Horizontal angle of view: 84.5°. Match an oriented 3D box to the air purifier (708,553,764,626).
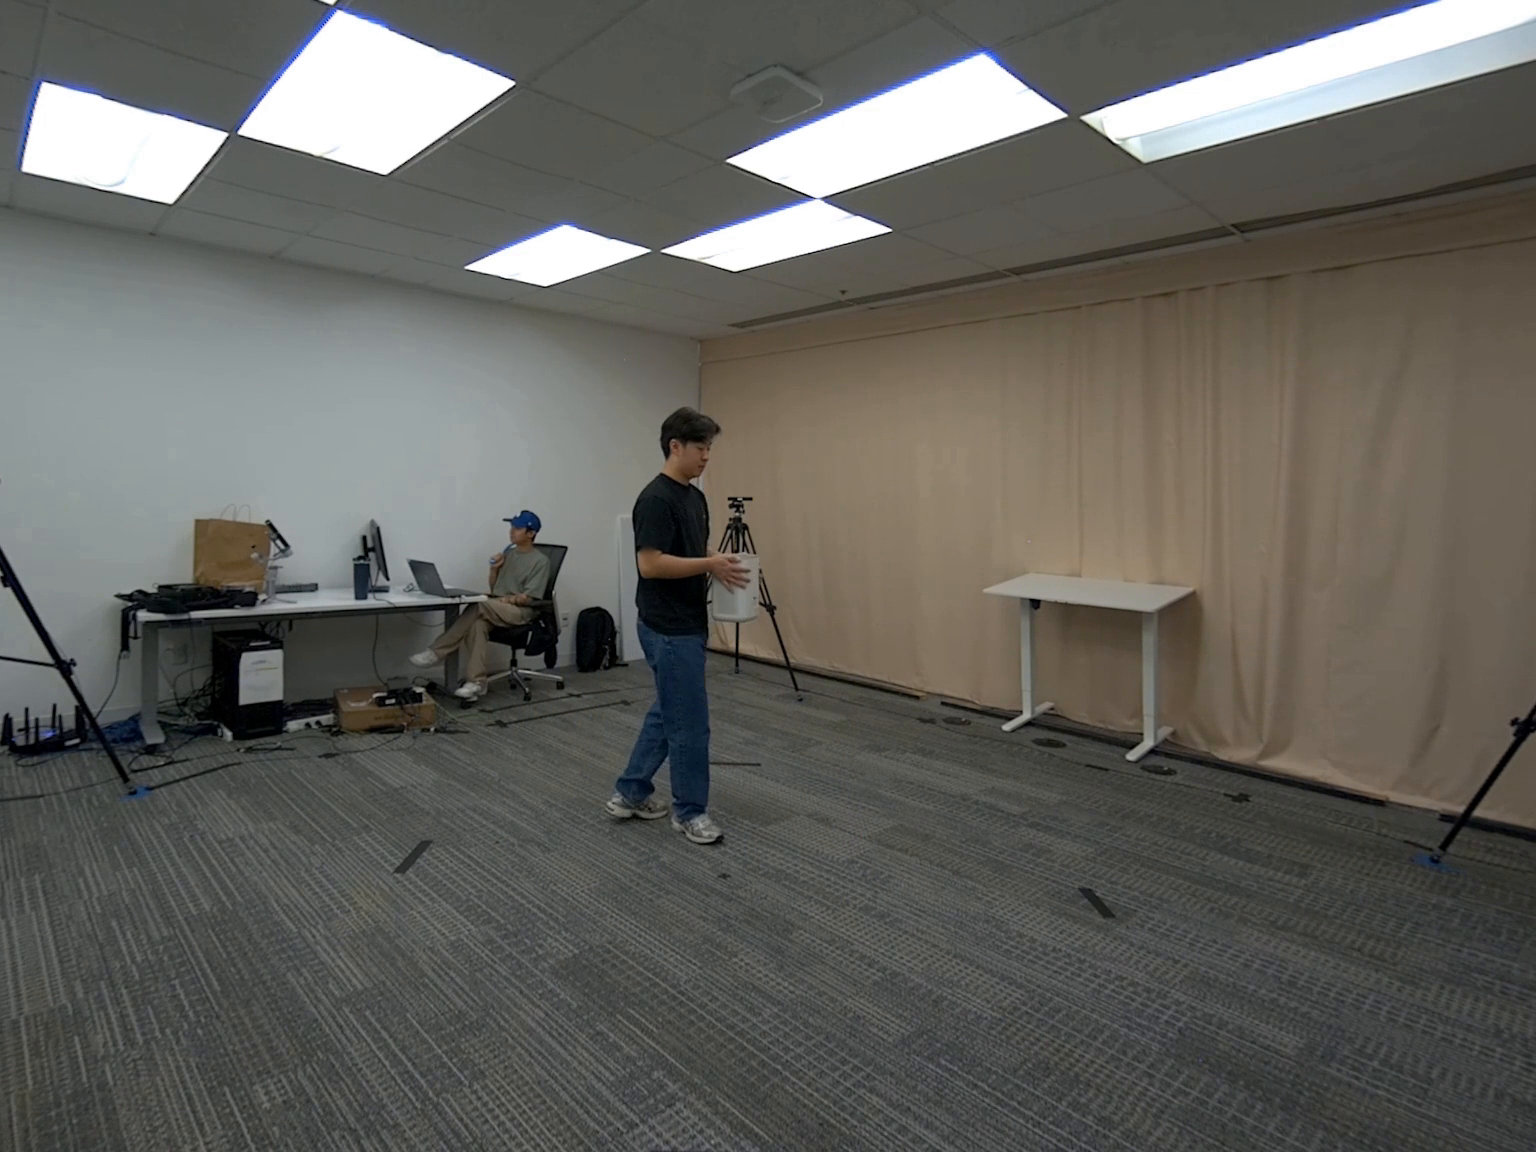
[{"bbox_3d":[-0.130,0.050,3.427,0.174,0.264,0.169,1,5,21],"label":"air purifier"}]
